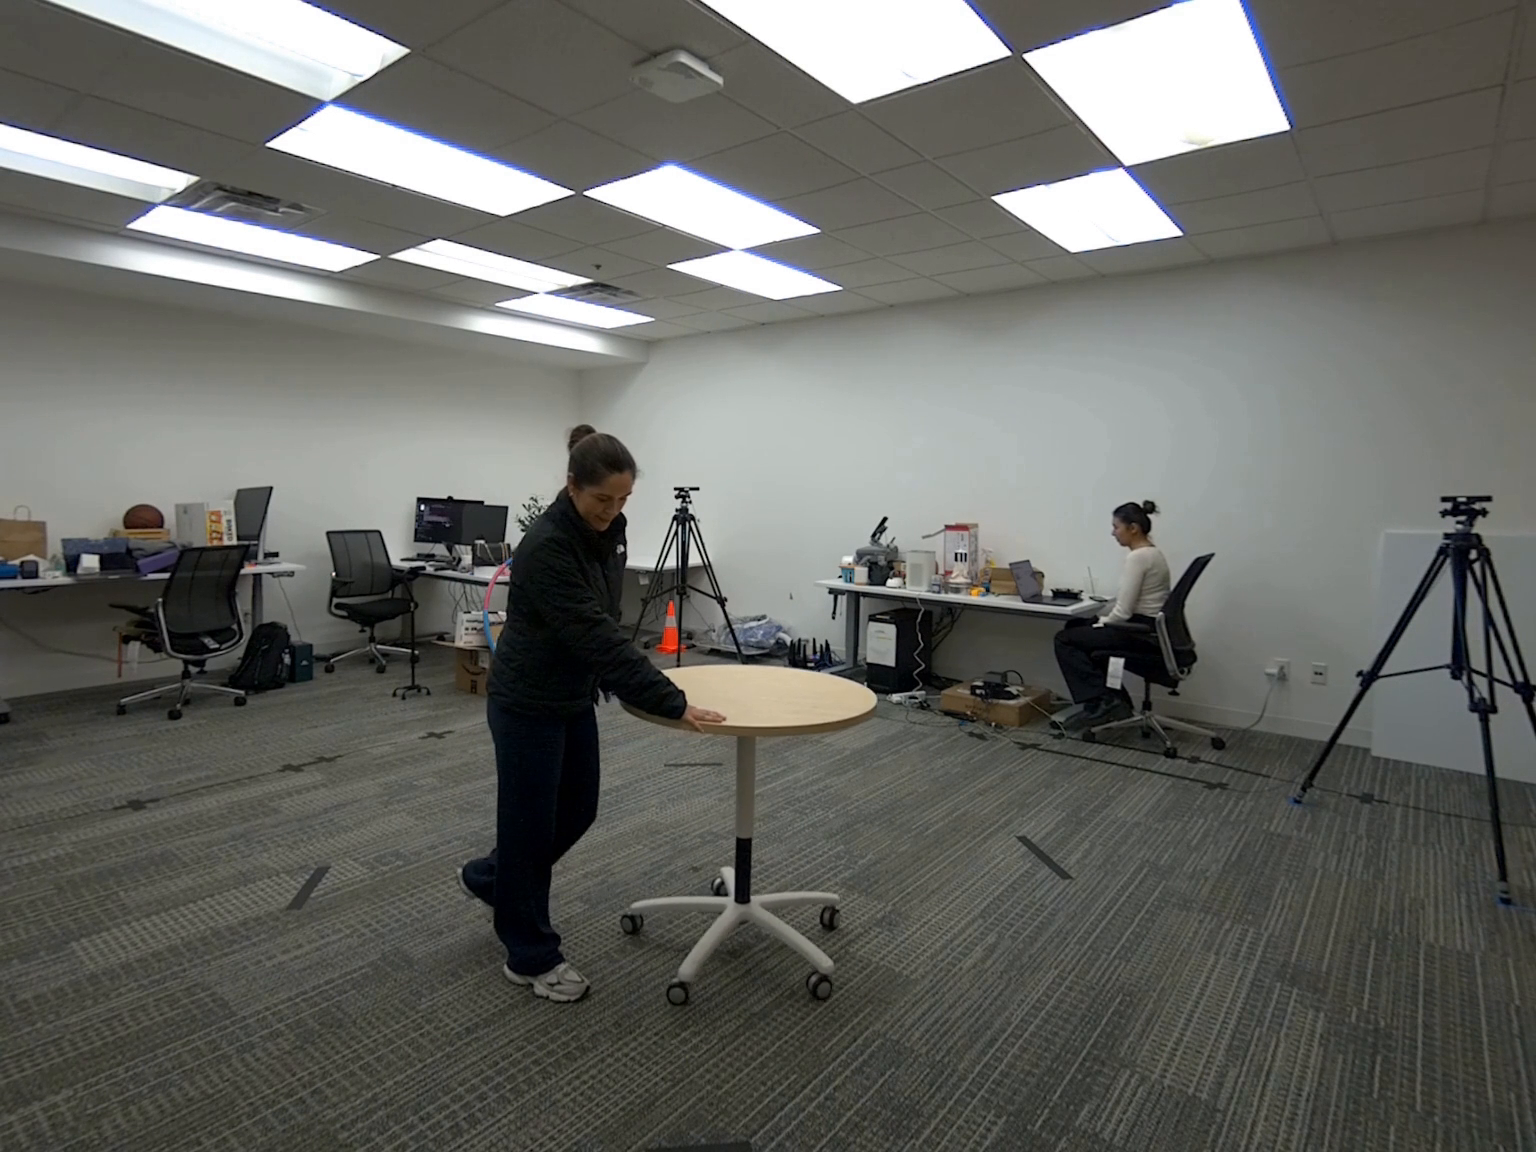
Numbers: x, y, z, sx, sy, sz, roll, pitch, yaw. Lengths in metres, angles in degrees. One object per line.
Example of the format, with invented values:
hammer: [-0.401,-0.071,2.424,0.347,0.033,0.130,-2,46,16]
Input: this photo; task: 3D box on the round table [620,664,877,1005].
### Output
round table: [-0.076,0.733,2.565,0.784,0.784,0.789,1,4,-2]
